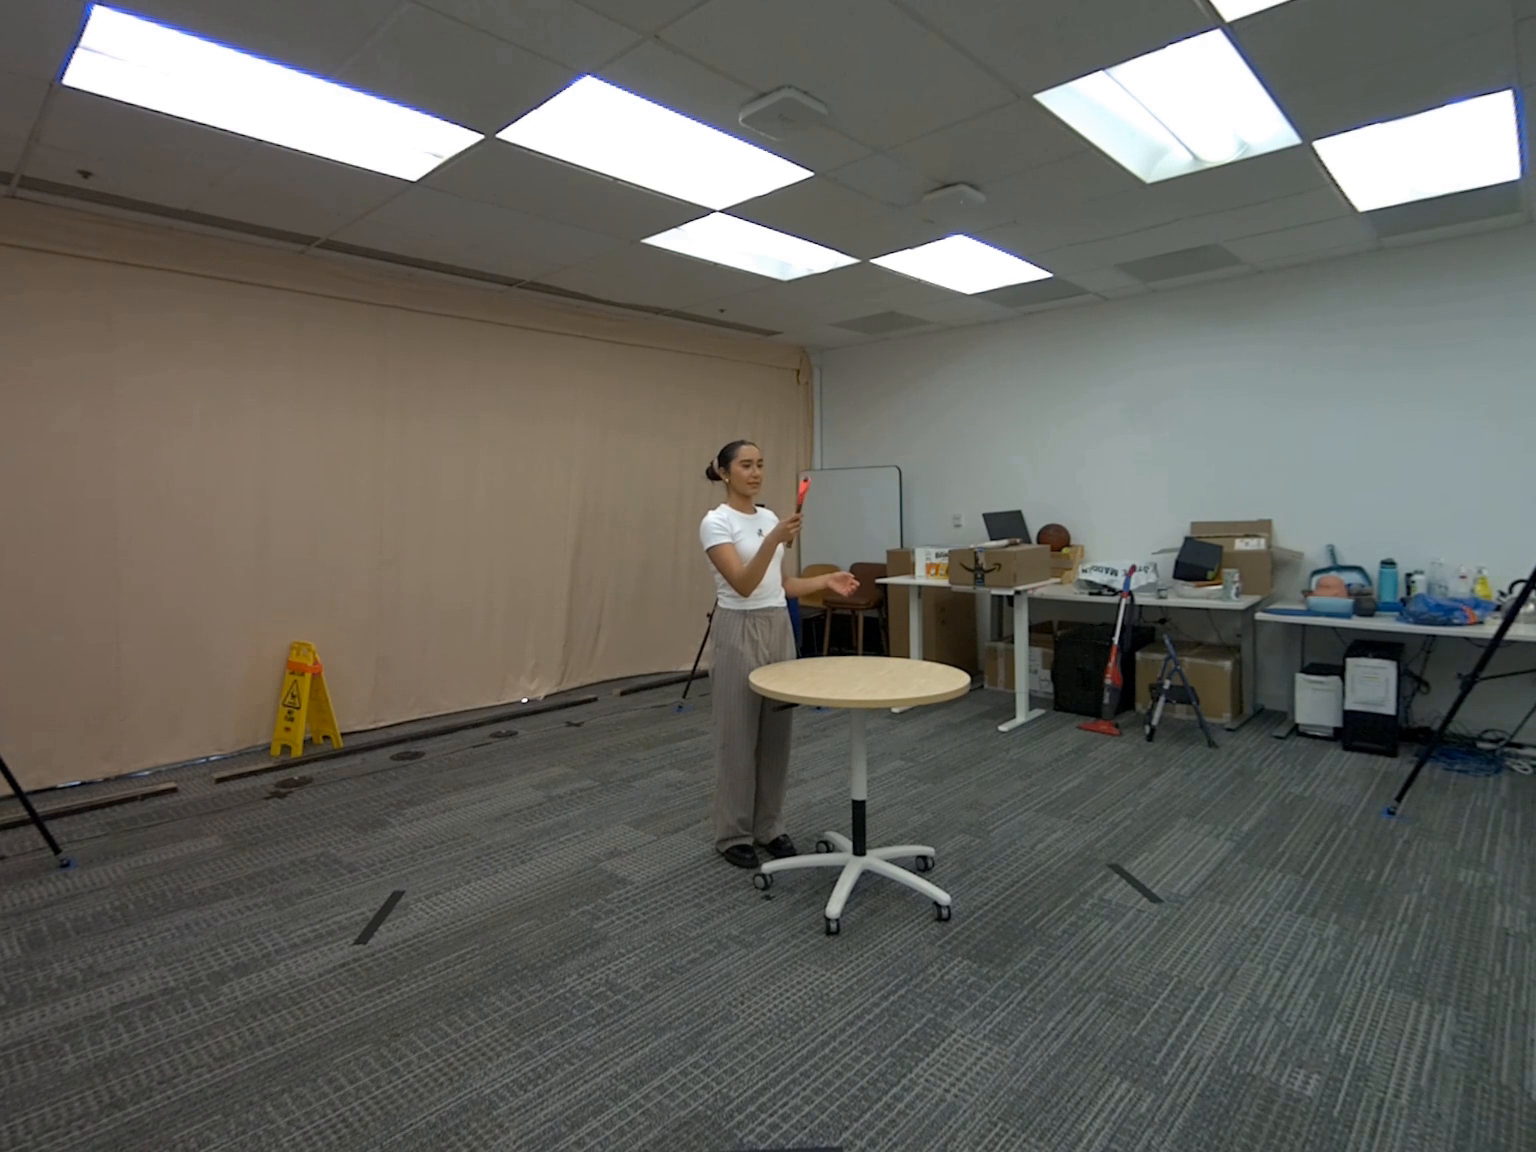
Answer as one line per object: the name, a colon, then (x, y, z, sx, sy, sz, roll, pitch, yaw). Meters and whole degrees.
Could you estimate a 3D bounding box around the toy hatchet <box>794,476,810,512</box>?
toy hatchet: (0.108, -0.215, 2.942, 0.029, 0.269, 0.131, 15, 14, 0)
